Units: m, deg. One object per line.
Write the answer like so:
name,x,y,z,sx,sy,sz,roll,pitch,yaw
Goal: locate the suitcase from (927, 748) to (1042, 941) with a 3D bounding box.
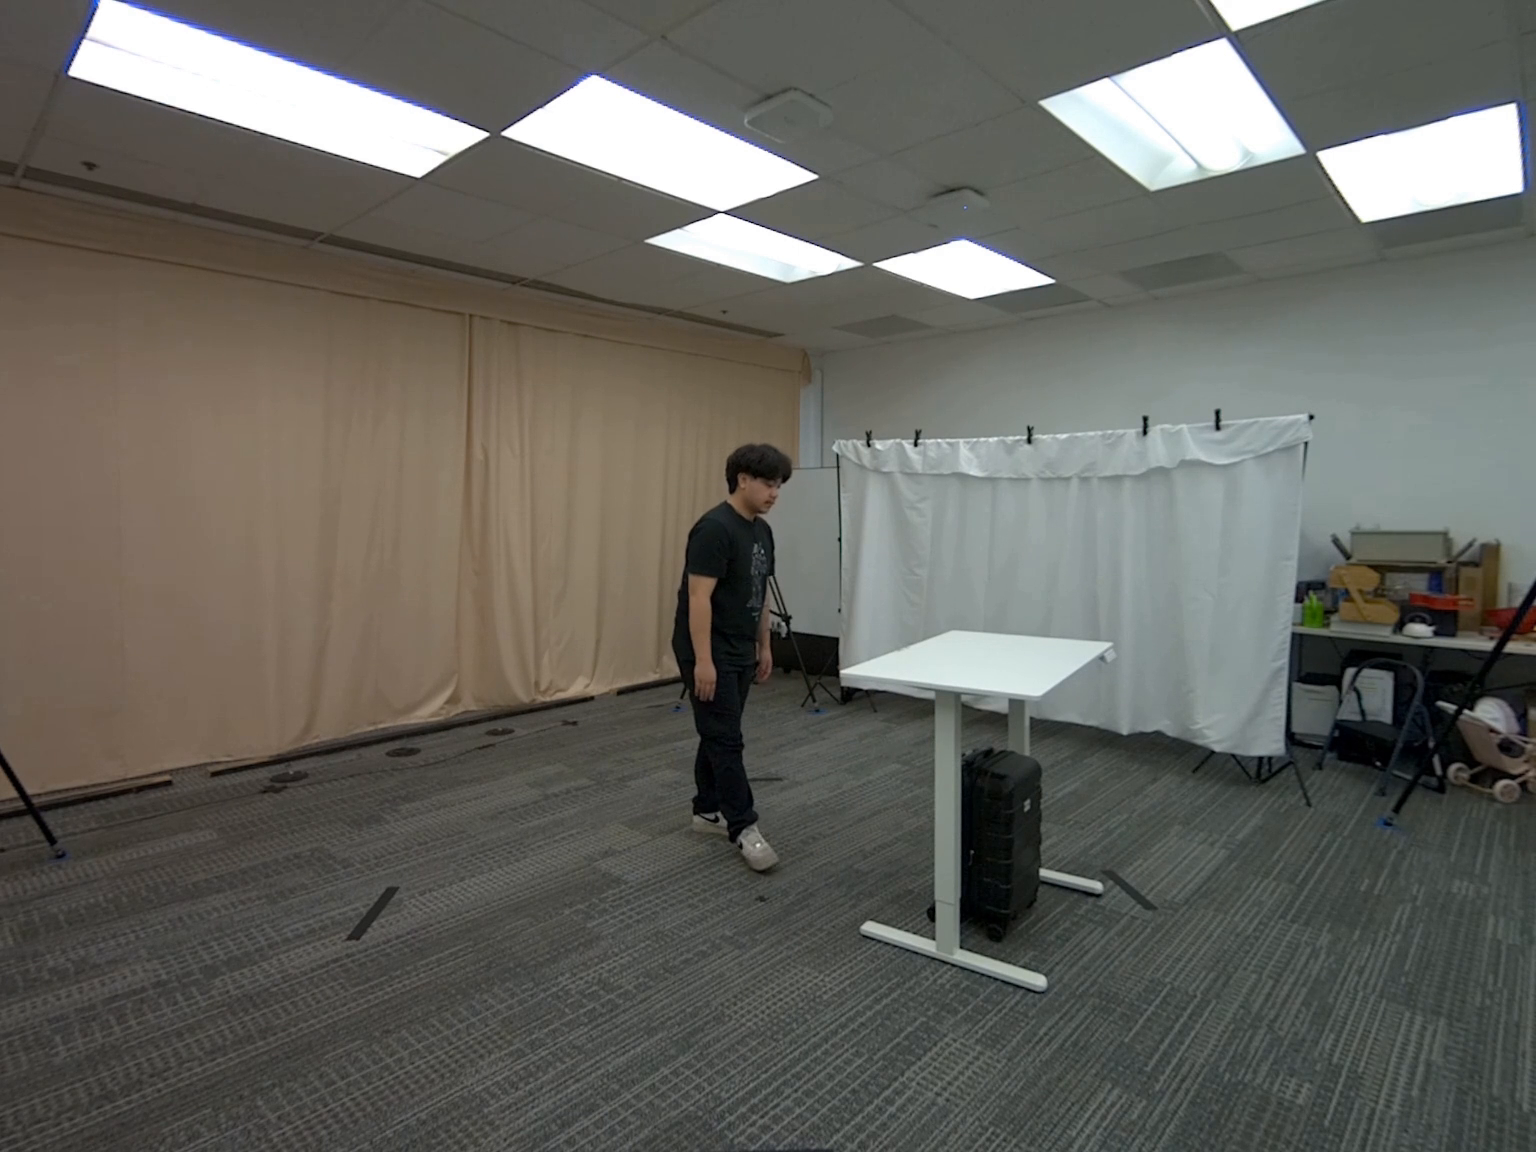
suitcase,0.761,0.887,2.847,0.256,0.547,0.365,6,8,35
